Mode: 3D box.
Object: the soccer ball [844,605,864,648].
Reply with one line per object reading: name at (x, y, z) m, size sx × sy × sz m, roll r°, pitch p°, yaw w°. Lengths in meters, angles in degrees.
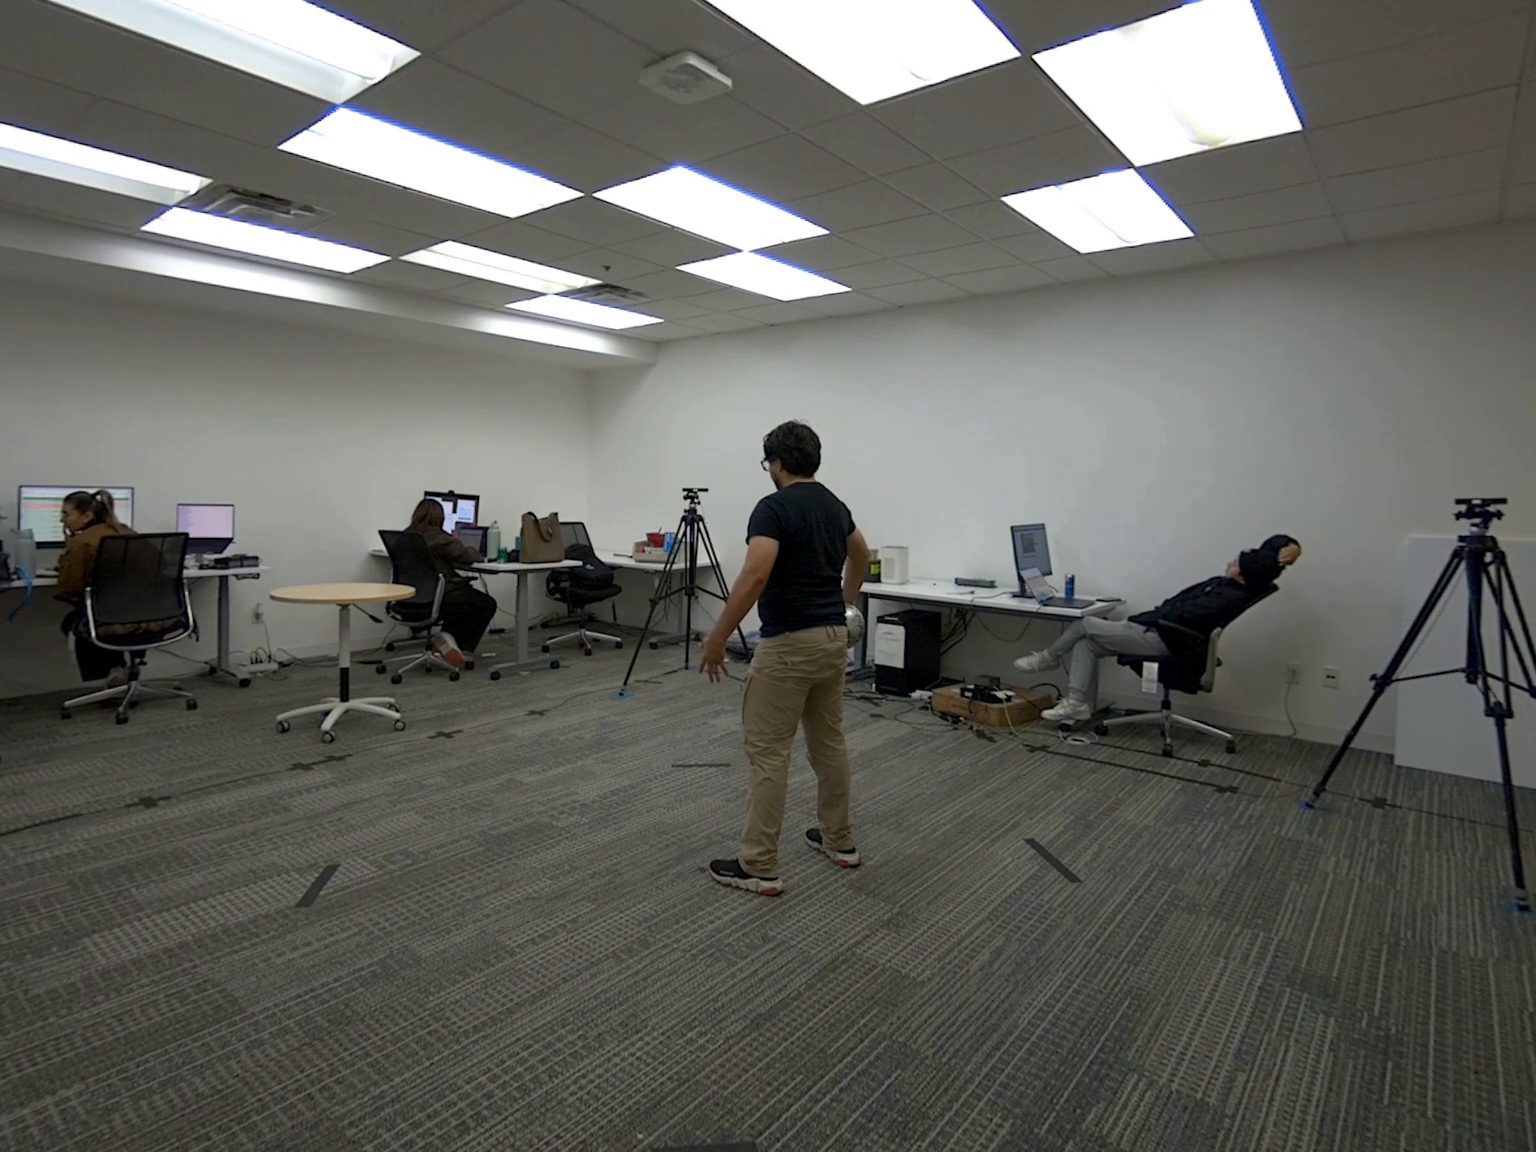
soccer ball at (0.283, 0.187, 3.373) m, size 0.187 × 0.187 × 0.188 m, roll 1°, pitch 4°, yaw -2°
